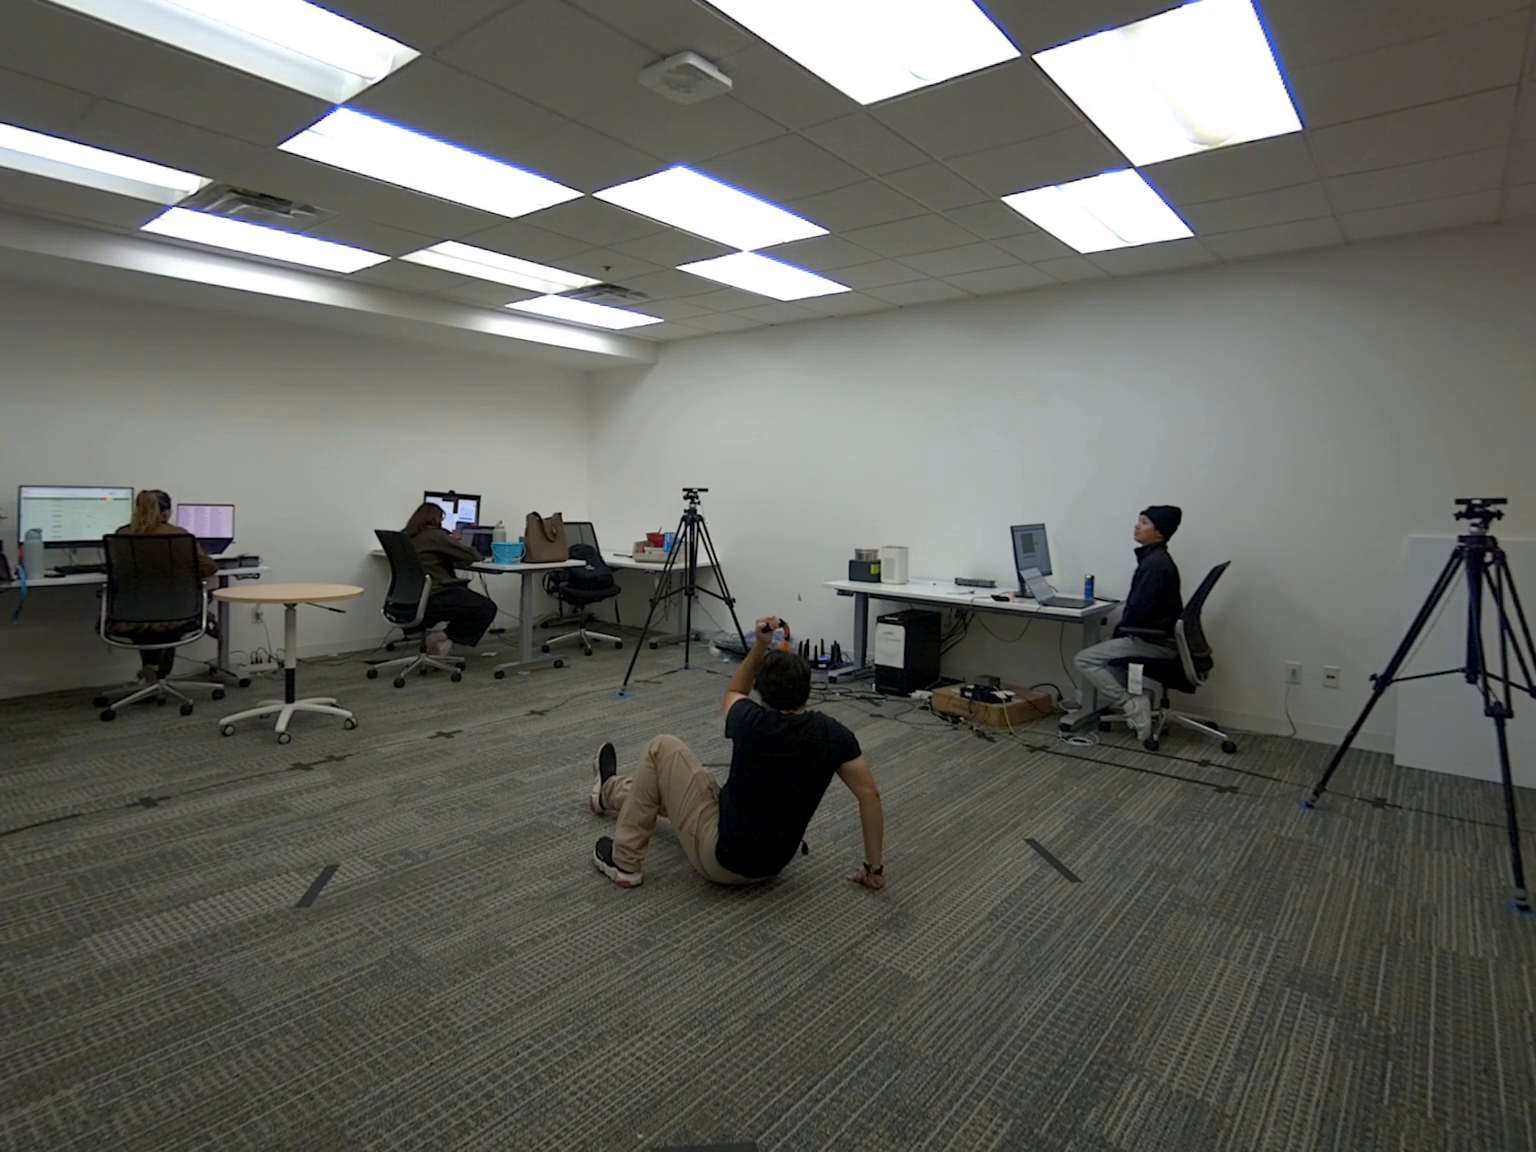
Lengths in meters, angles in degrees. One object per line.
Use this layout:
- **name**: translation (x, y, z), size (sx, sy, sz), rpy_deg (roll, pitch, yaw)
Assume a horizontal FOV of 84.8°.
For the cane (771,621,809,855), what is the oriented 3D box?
- **cane**: translation (0.043, 0.599, 3.191), size (0.157, 0.903, 0.200), rpy_deg (6, 7, 39)
